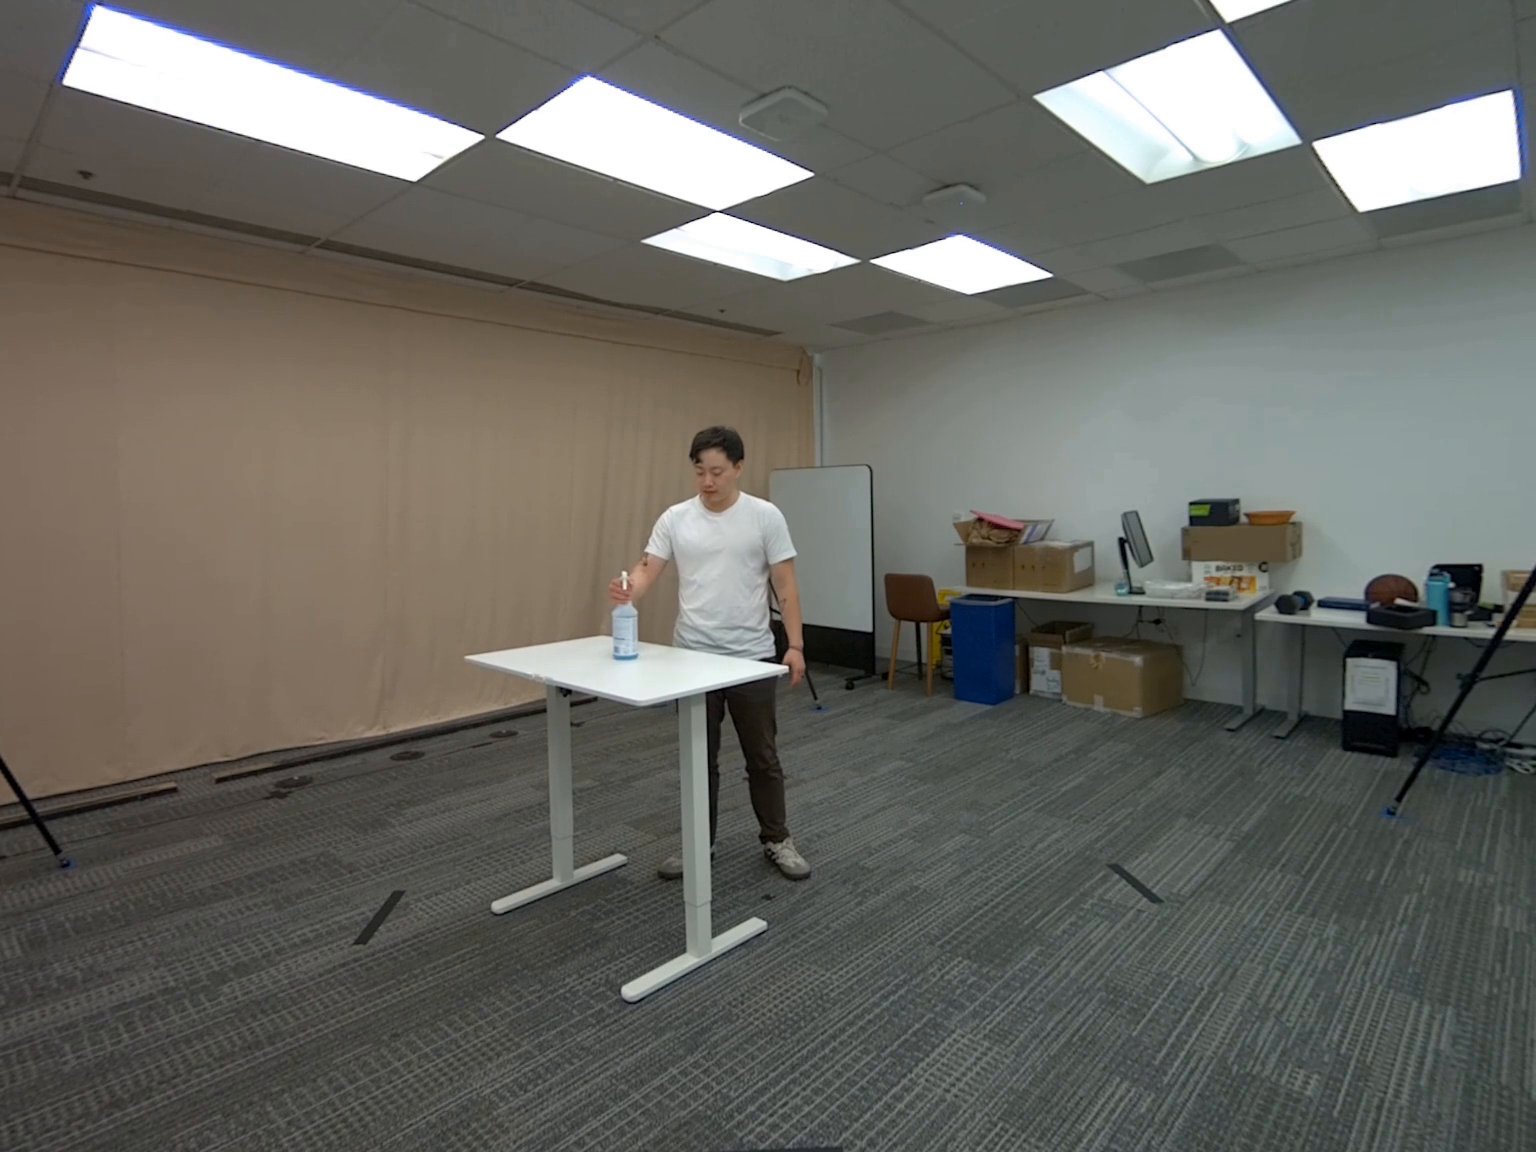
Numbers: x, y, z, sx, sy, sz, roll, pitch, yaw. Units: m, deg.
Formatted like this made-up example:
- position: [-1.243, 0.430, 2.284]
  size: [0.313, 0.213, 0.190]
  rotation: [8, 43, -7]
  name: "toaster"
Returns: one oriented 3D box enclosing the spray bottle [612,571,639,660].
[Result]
- position: [-0.480, 0.128, 2.849]
  size: [0.089, 0.296, 0.089]
  rotation: [1, 6, 17]
  name: "spray bottle"
